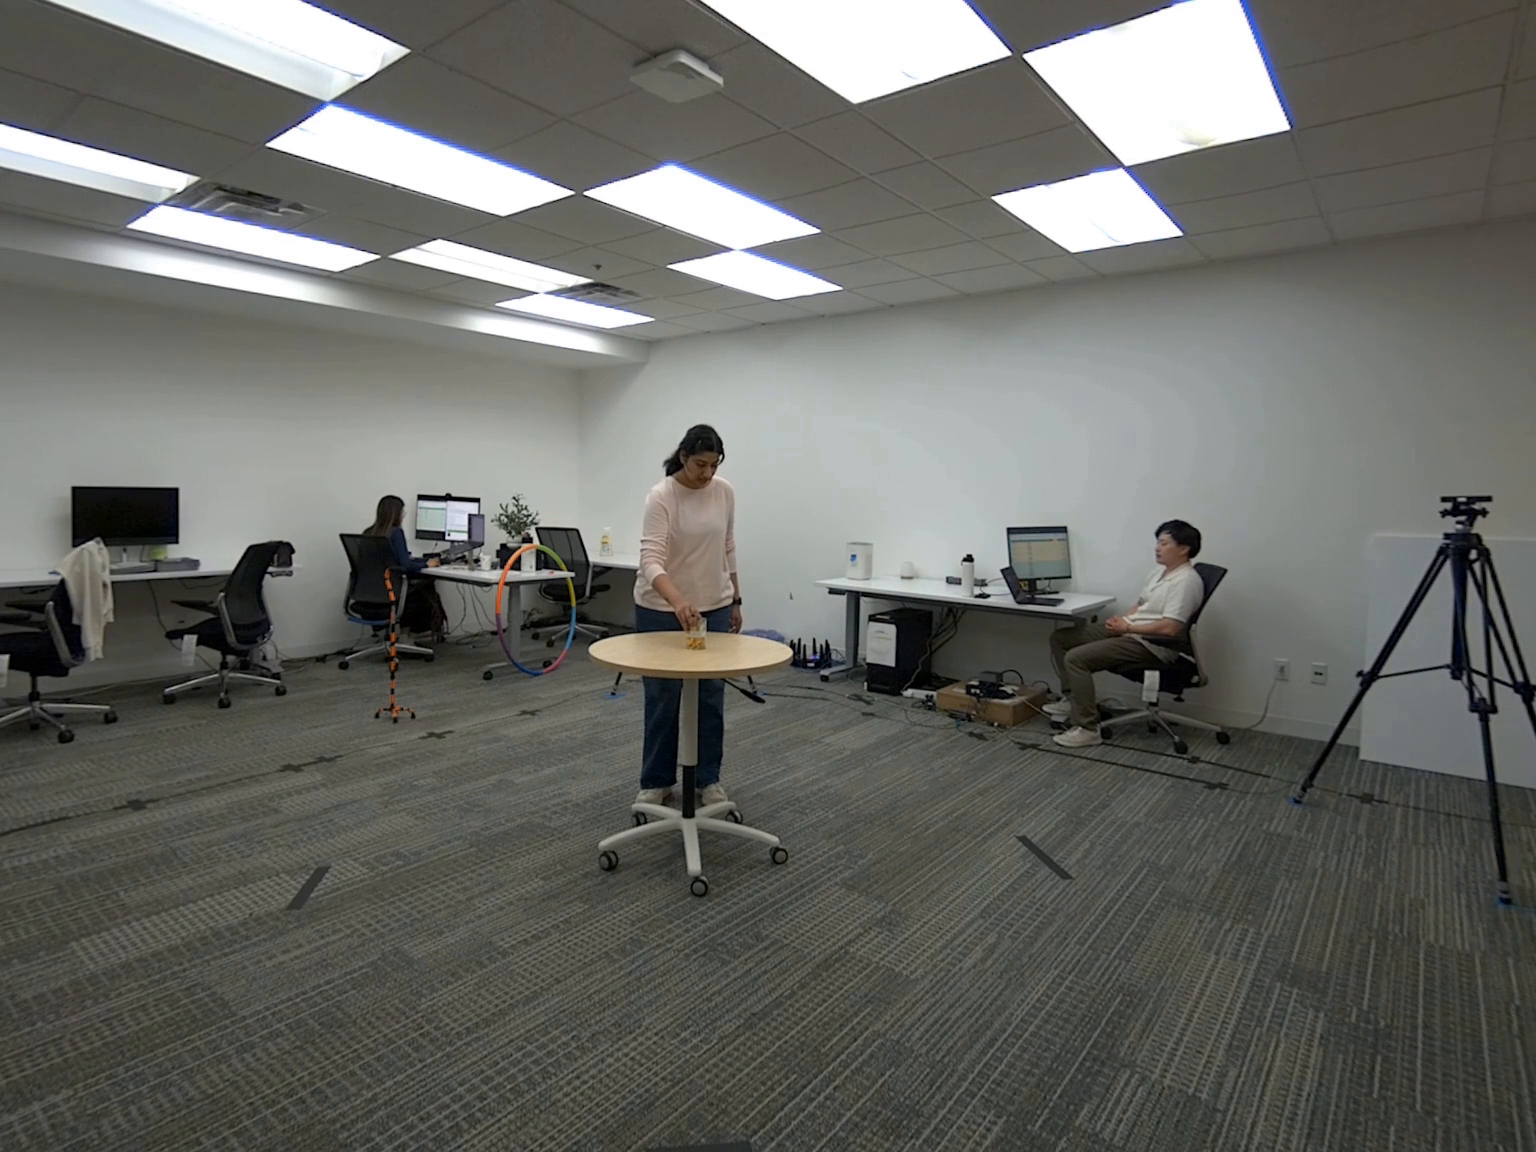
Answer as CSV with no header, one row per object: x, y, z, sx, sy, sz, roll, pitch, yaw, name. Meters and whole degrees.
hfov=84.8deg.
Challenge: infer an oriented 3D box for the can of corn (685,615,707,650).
-0.285,0.215,3.222,0.074,0.111,0.074,1,1,-2,can of corn
